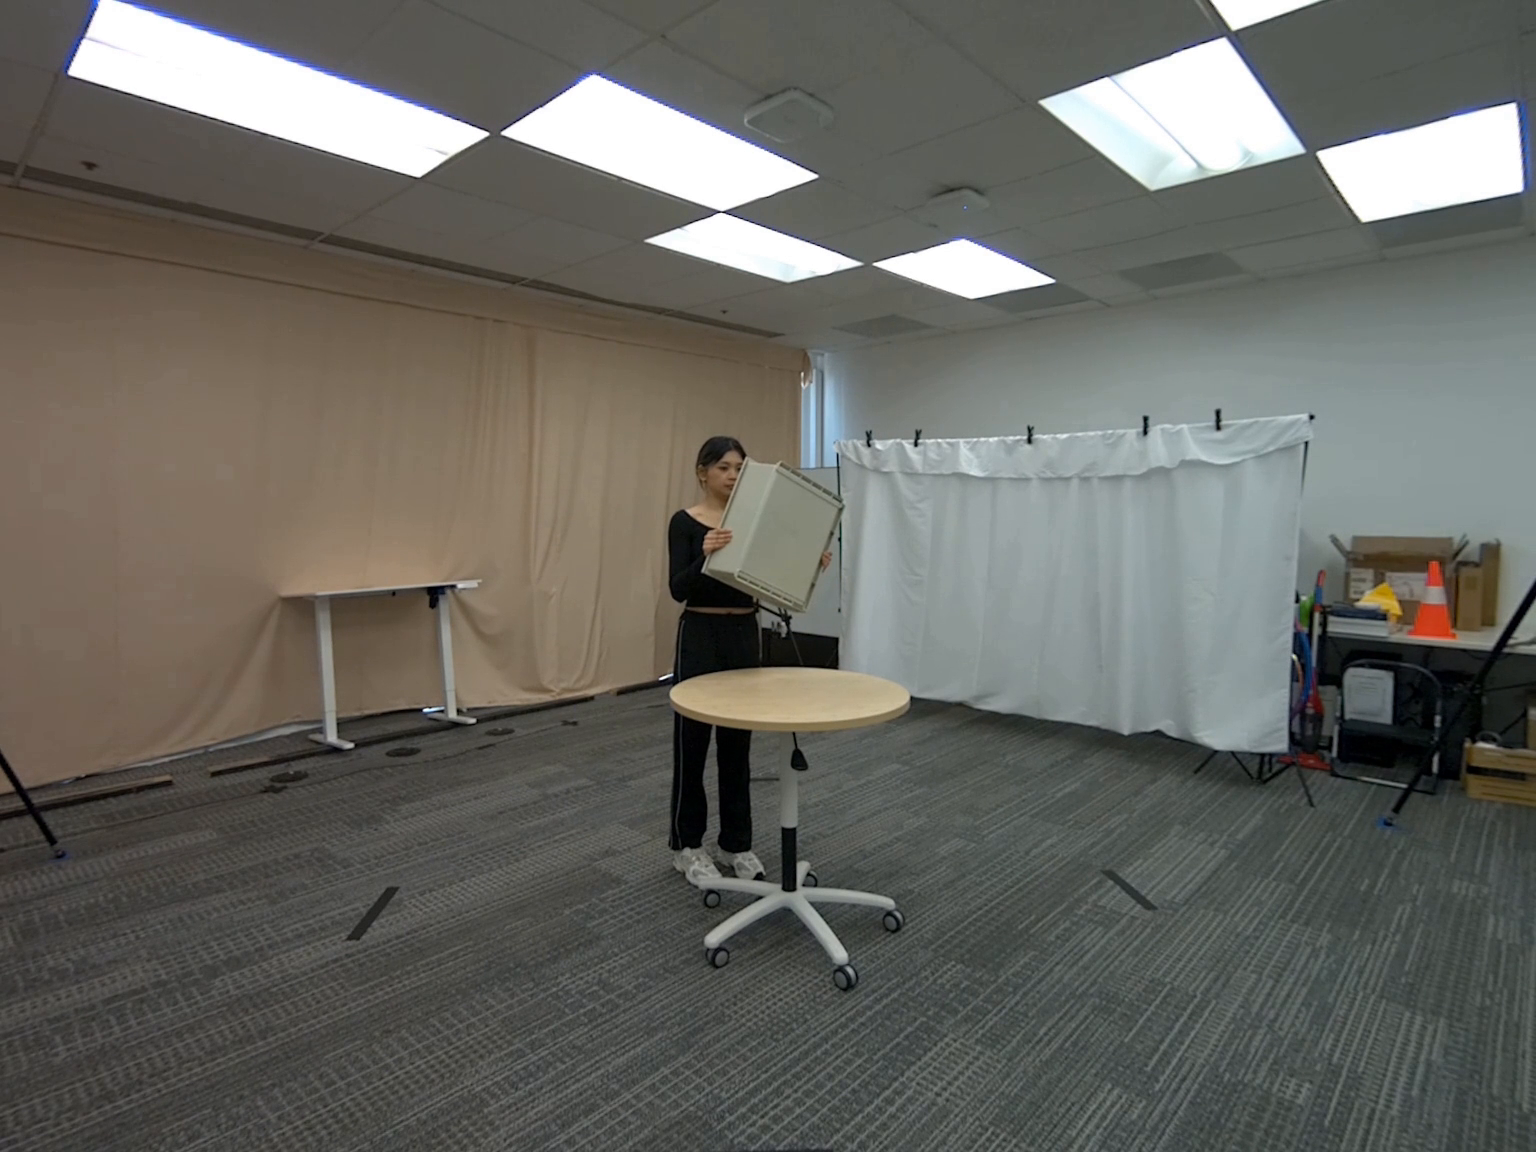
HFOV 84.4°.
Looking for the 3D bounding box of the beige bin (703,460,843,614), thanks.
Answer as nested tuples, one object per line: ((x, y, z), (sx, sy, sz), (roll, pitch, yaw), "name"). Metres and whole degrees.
((0.040, -0.132, 2.871), (0.364, 0.423, 0.195), (27, -9, -36), "beige bin")
